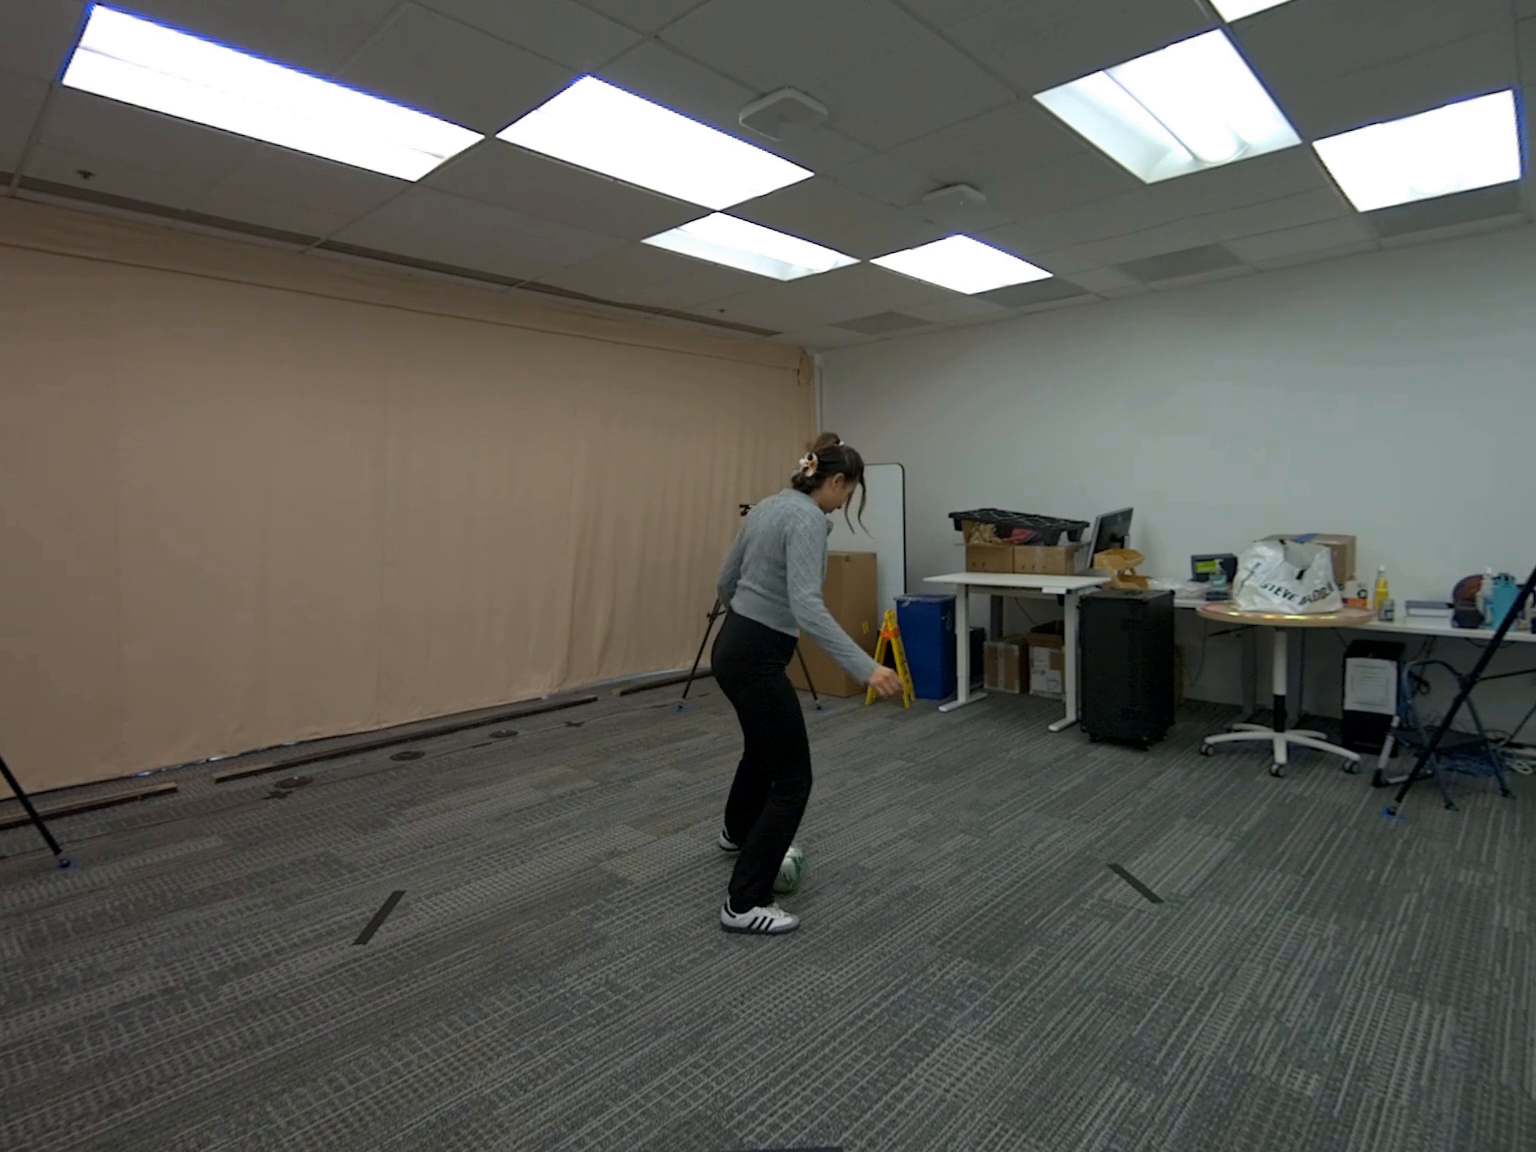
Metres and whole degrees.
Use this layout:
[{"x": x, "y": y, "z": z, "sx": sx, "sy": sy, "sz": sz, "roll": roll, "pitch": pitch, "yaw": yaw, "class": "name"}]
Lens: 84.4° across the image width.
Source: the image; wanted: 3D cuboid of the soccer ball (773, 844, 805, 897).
[{"x": 0.053, "y": 1.043, "z": 3.022, "sx": 0.187, "sy": 0.187, "sz": 0.188, "roll": -1, "pitch": 4, "yaw": -2, "class": "soccer ball"}]
